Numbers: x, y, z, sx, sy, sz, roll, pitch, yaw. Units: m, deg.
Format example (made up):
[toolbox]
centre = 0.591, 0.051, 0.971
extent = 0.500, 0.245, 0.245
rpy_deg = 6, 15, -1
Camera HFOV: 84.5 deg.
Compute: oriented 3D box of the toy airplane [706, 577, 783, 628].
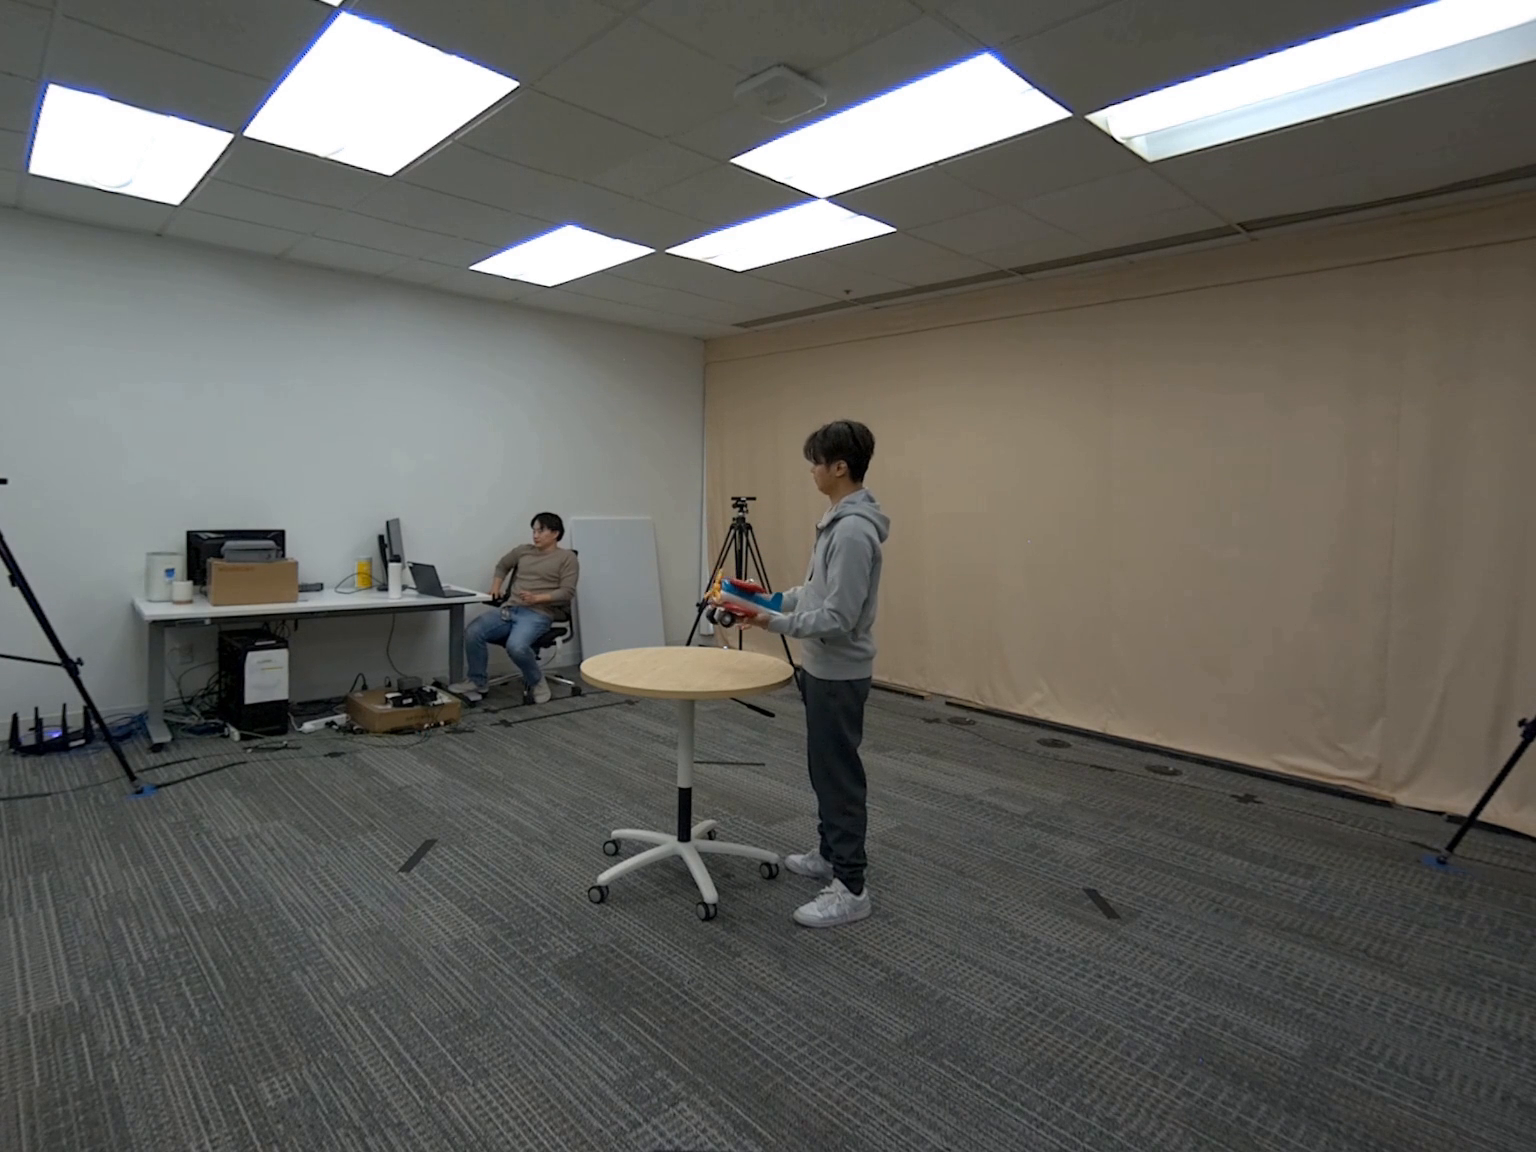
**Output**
[toy airplane]
centre = -0.083, 0.071, 2.756
extent = 0.257, 0.156, 0.253
rpy_deg = 10, 3, 35
